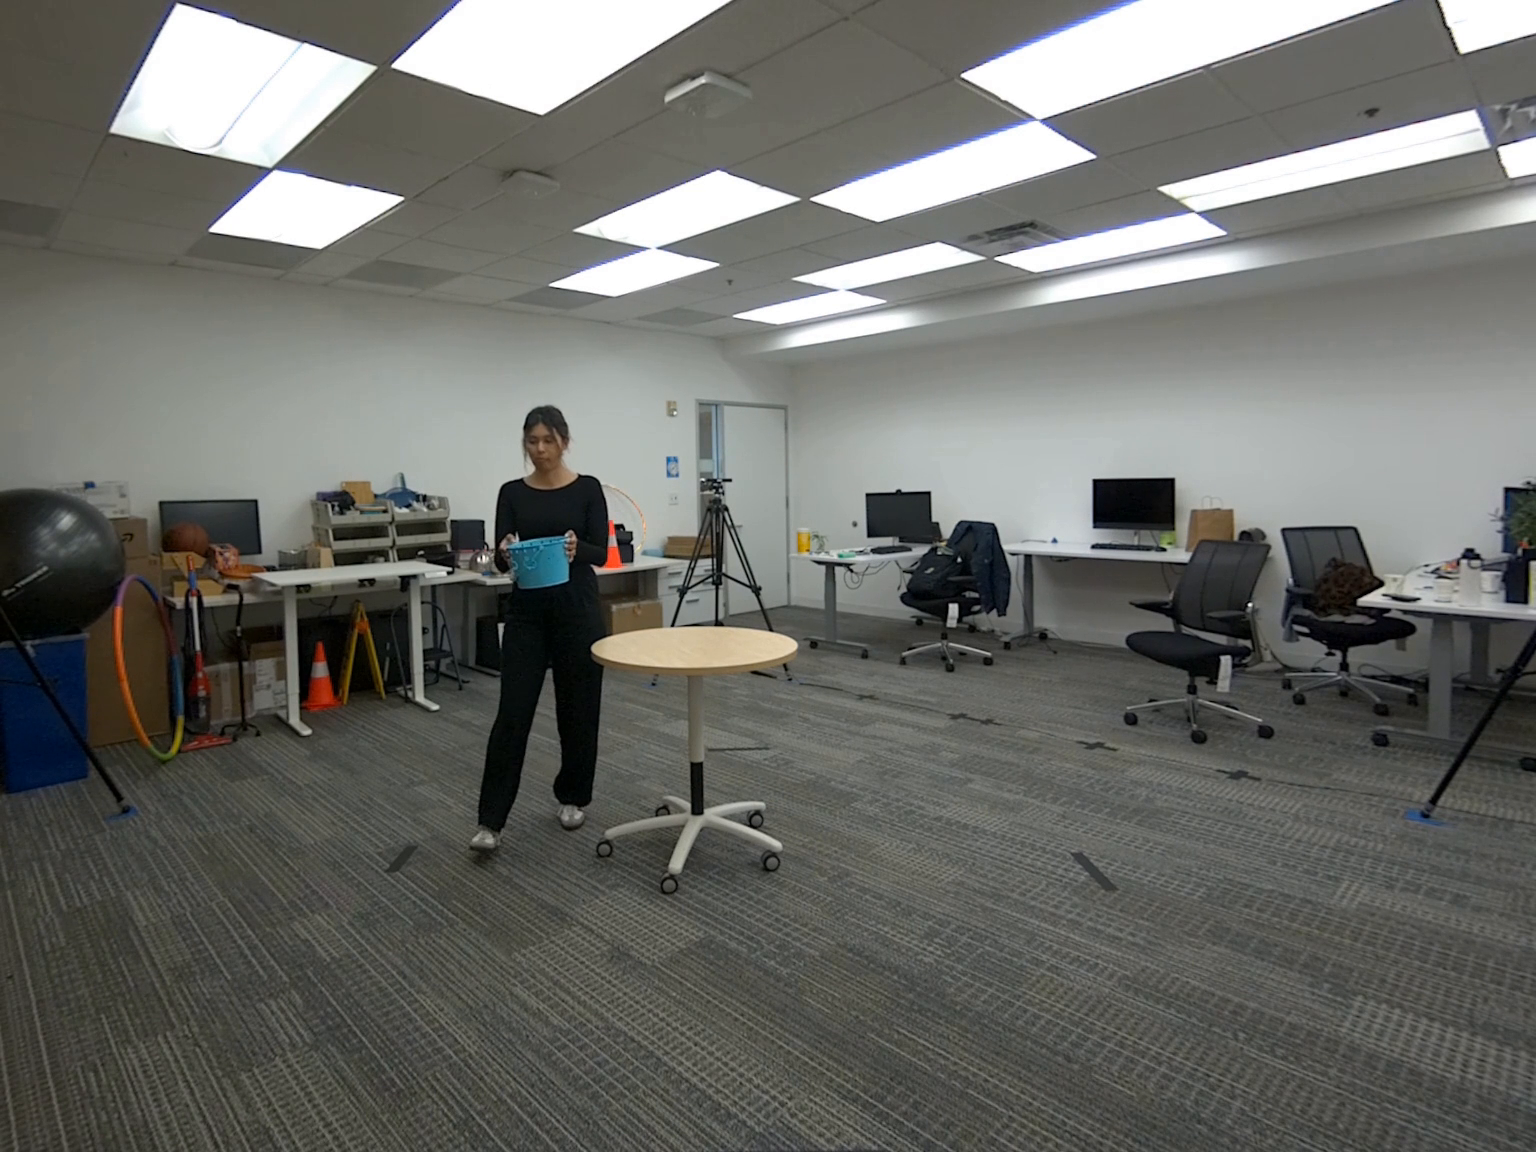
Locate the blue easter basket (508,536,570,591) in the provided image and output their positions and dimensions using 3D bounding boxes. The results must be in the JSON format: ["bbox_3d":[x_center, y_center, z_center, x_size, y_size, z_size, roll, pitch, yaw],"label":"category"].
[{"bbox_3d":[-0.837,-0.047,3.089,0.243,0.155,0.245,-7,7,-1],"label":"blue easter basket"}]
